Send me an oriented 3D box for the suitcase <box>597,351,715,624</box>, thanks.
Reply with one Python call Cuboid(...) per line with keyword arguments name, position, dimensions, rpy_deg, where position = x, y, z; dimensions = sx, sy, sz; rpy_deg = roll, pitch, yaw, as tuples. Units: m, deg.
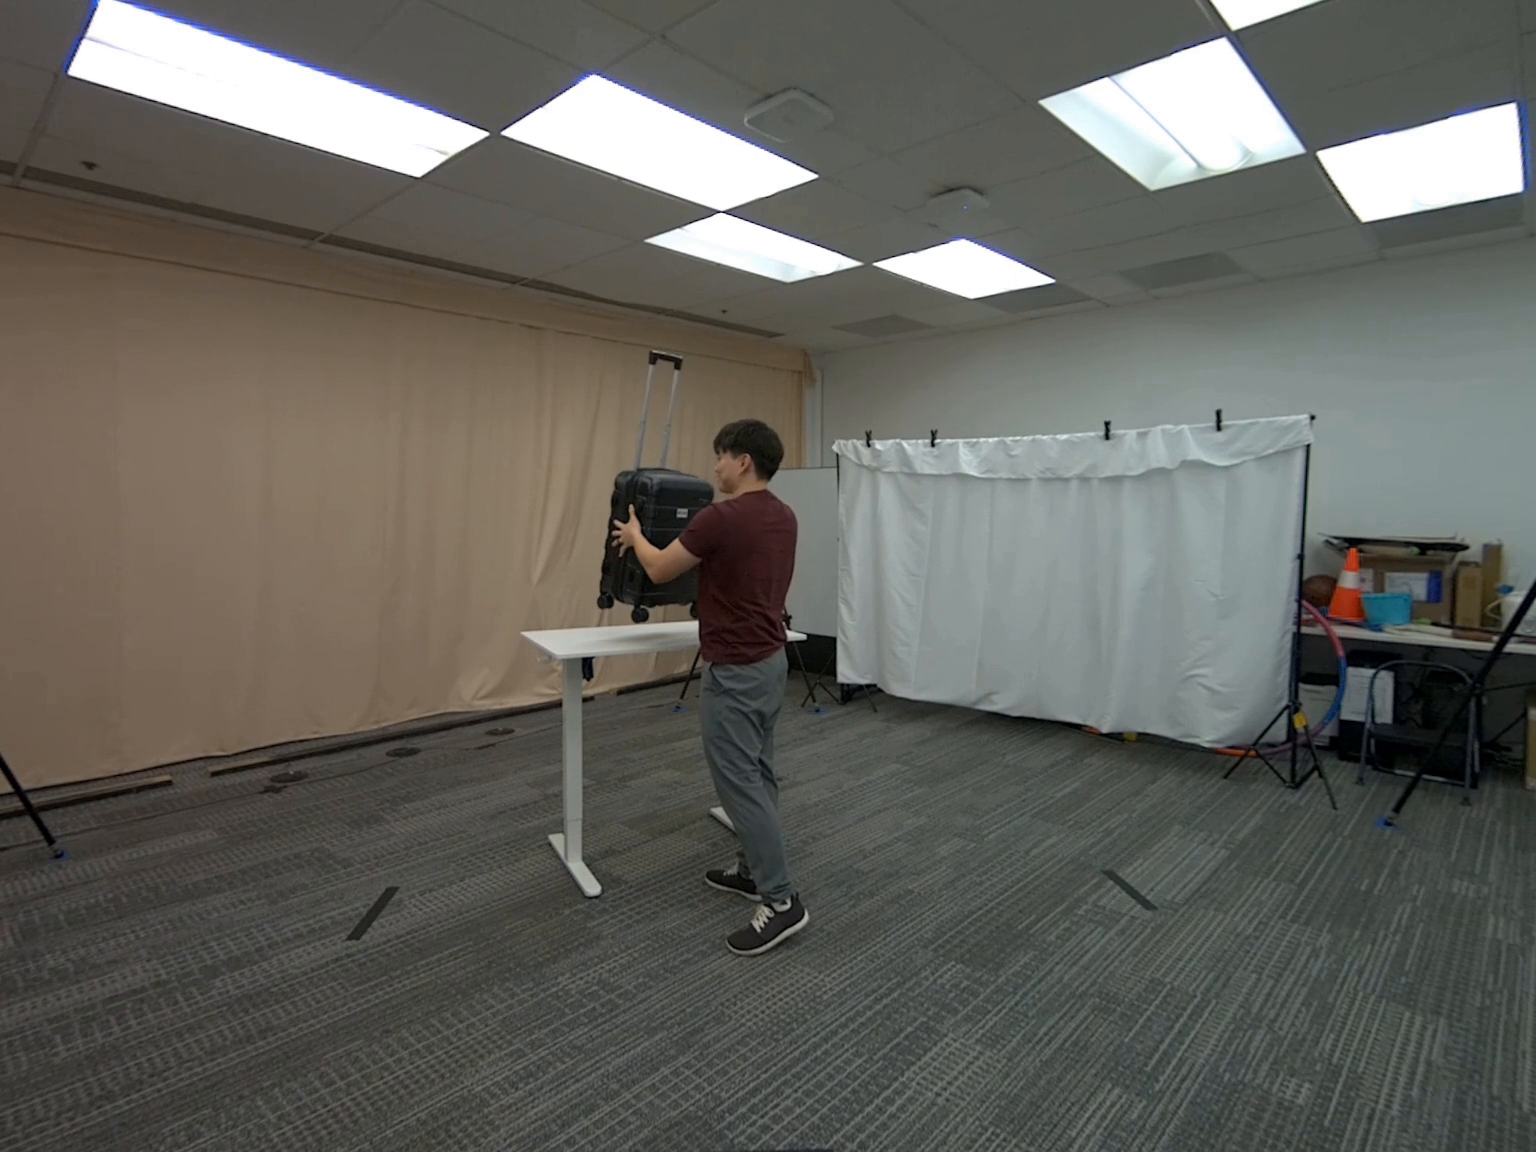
Cuboid(name="suitcase", position=(-0.380, -0.331, 3.181), dimensions=(0.266, 0.974, 0.372), rpy_deg=(17, 12, 43))
